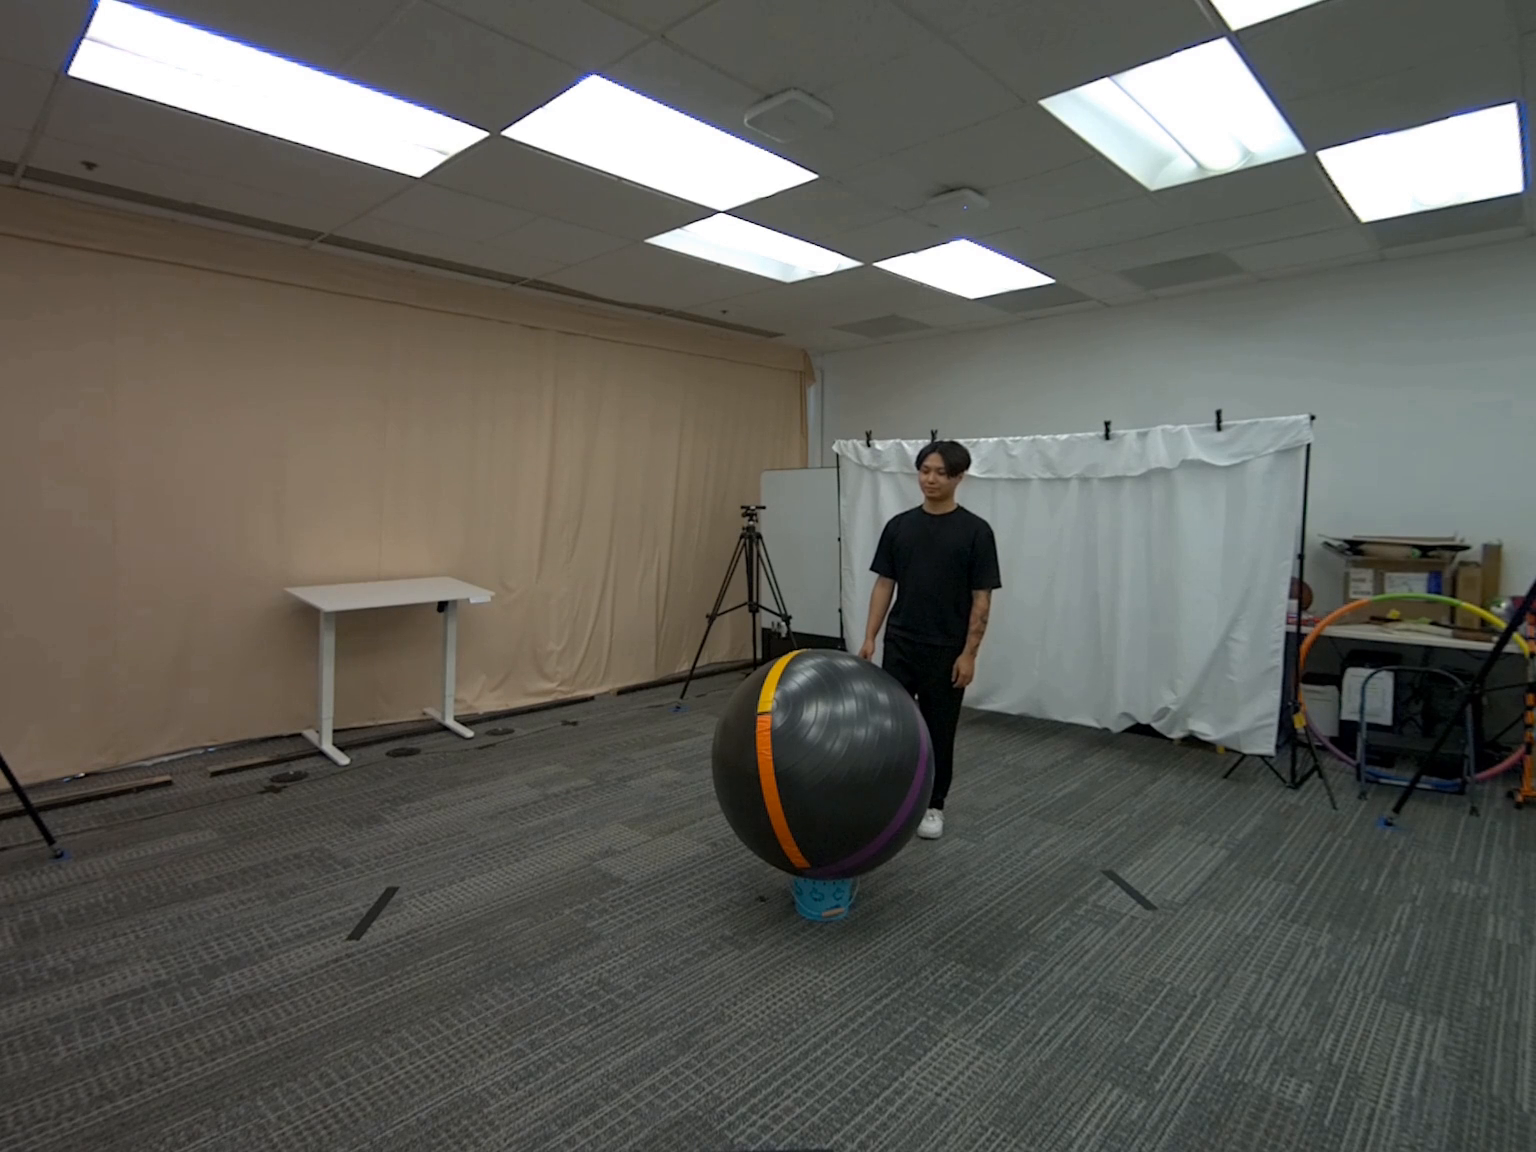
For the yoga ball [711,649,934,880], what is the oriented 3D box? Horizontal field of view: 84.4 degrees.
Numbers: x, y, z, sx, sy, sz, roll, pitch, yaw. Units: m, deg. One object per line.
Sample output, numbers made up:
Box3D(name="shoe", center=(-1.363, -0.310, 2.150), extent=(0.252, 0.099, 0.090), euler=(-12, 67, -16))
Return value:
Box3D(name="yoga ball", center=(0.189, 0.636, 2.891), extent=(0.757, 0.756, 0.760), euler=(0, 4, -2))
